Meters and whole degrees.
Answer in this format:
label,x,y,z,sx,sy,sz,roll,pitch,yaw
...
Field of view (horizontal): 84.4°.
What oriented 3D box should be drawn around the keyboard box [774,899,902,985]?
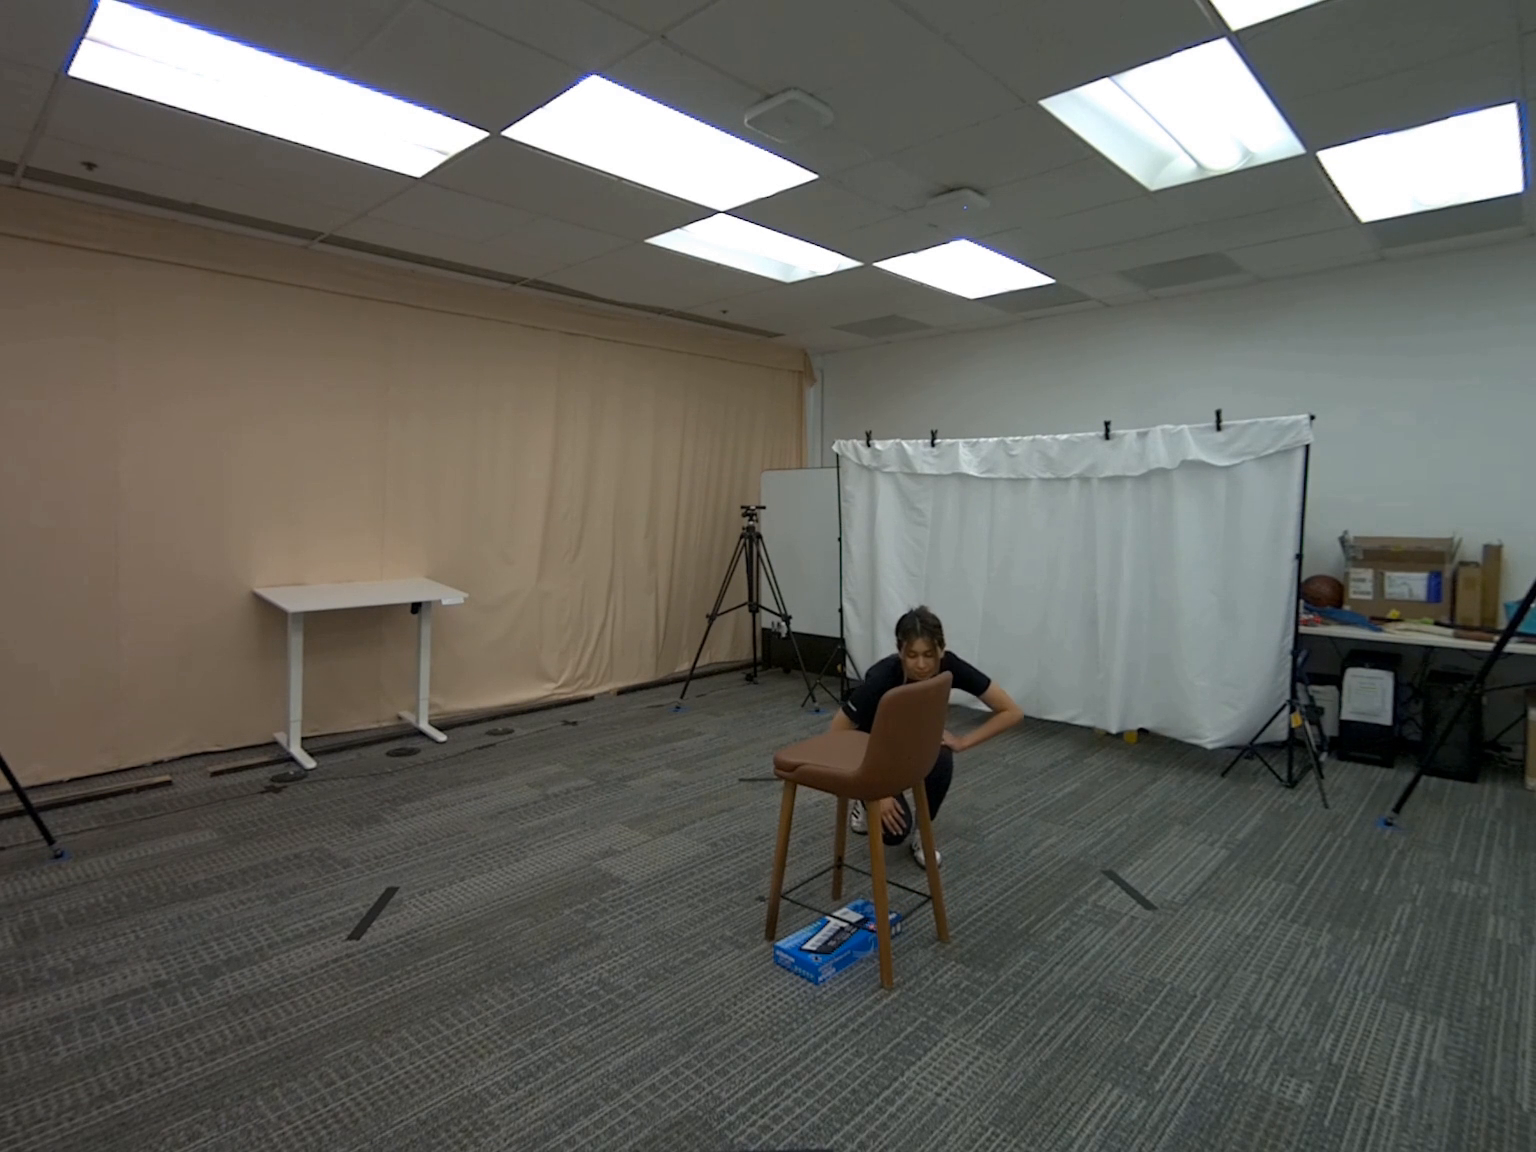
label,x,y,z,sx,sy,sz,roll,pitch,yaw
keyboard box,0.225,1.134,2.654,0.182,0.059,0.423,4,6,43
